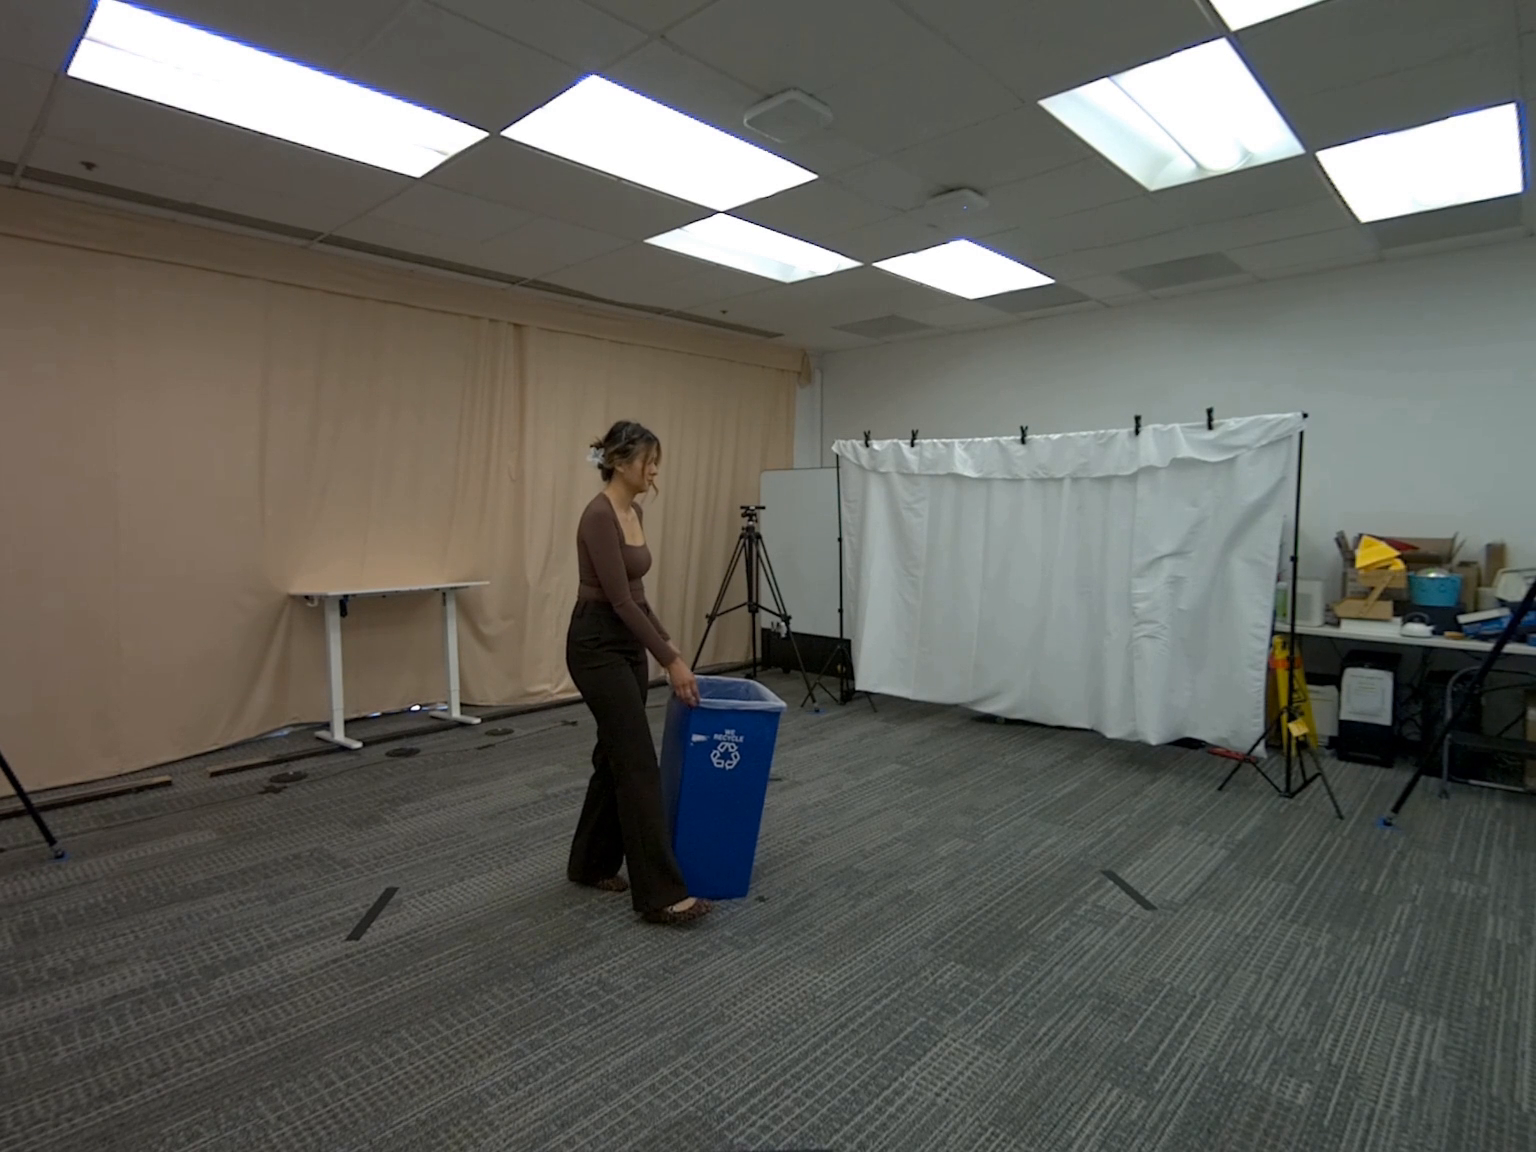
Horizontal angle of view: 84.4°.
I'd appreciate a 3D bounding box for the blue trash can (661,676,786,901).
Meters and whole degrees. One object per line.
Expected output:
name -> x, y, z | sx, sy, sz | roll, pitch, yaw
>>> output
blue trash can -> -0.195, 0.763, 3.071 | 0.370, 0.712, 0.383 | 6, 4, -20
